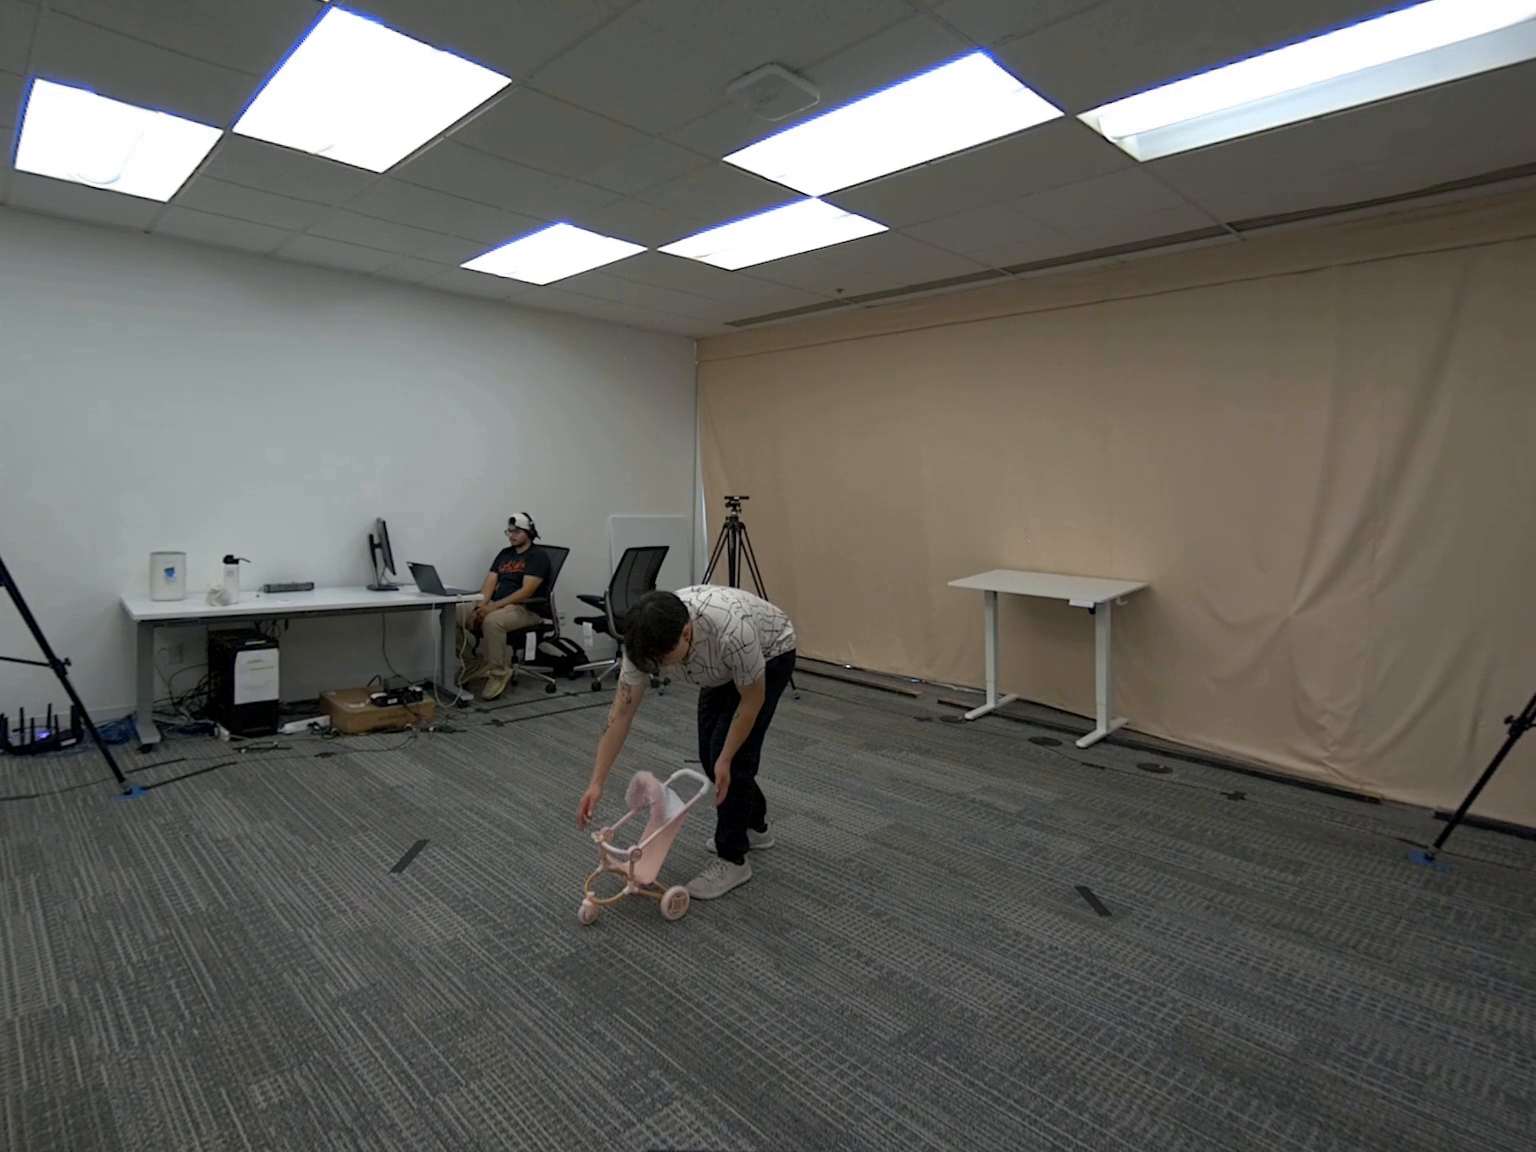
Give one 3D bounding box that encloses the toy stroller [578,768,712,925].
[{"bbox_3d":[-0.432,0.900,2.821,0.332,0.536,0.288,19,-7,-33],"label":"toy stroller"}]
